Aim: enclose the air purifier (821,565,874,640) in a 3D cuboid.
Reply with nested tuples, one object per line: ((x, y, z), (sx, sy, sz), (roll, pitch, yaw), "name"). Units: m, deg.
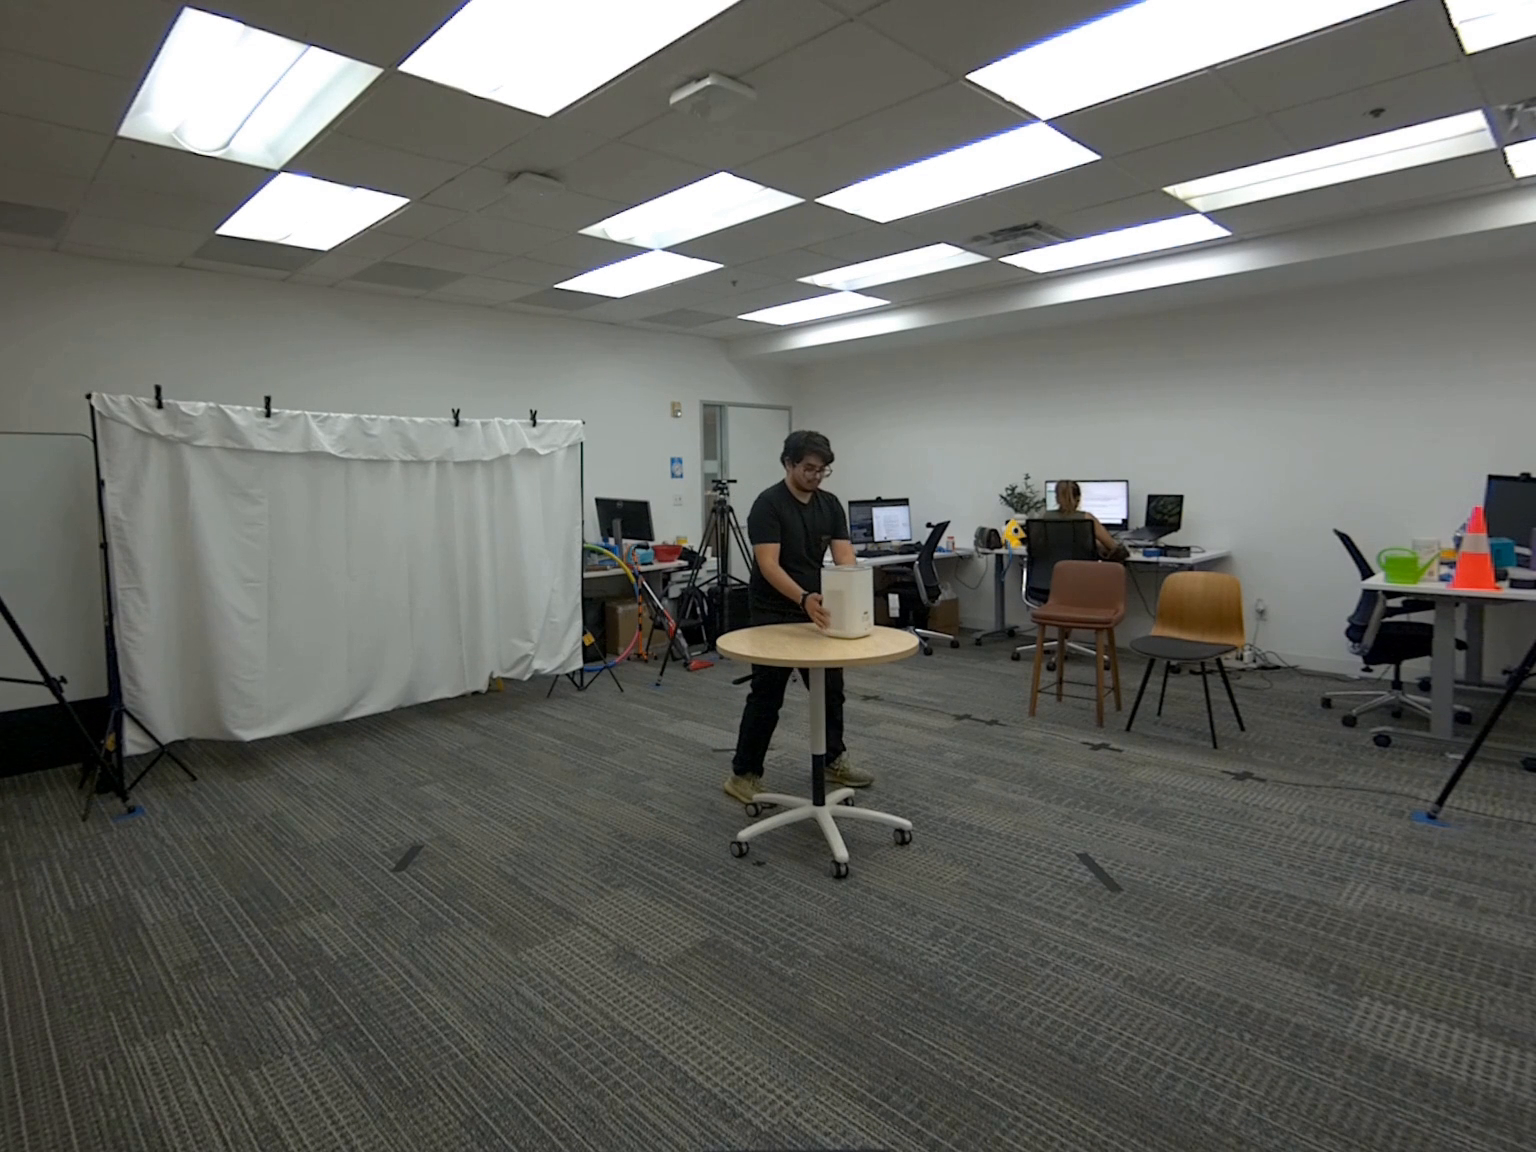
((0.313, 0.101, 3.321), (0.177, 0.264, 0.167), (2, 5, 40), "air purifier")
